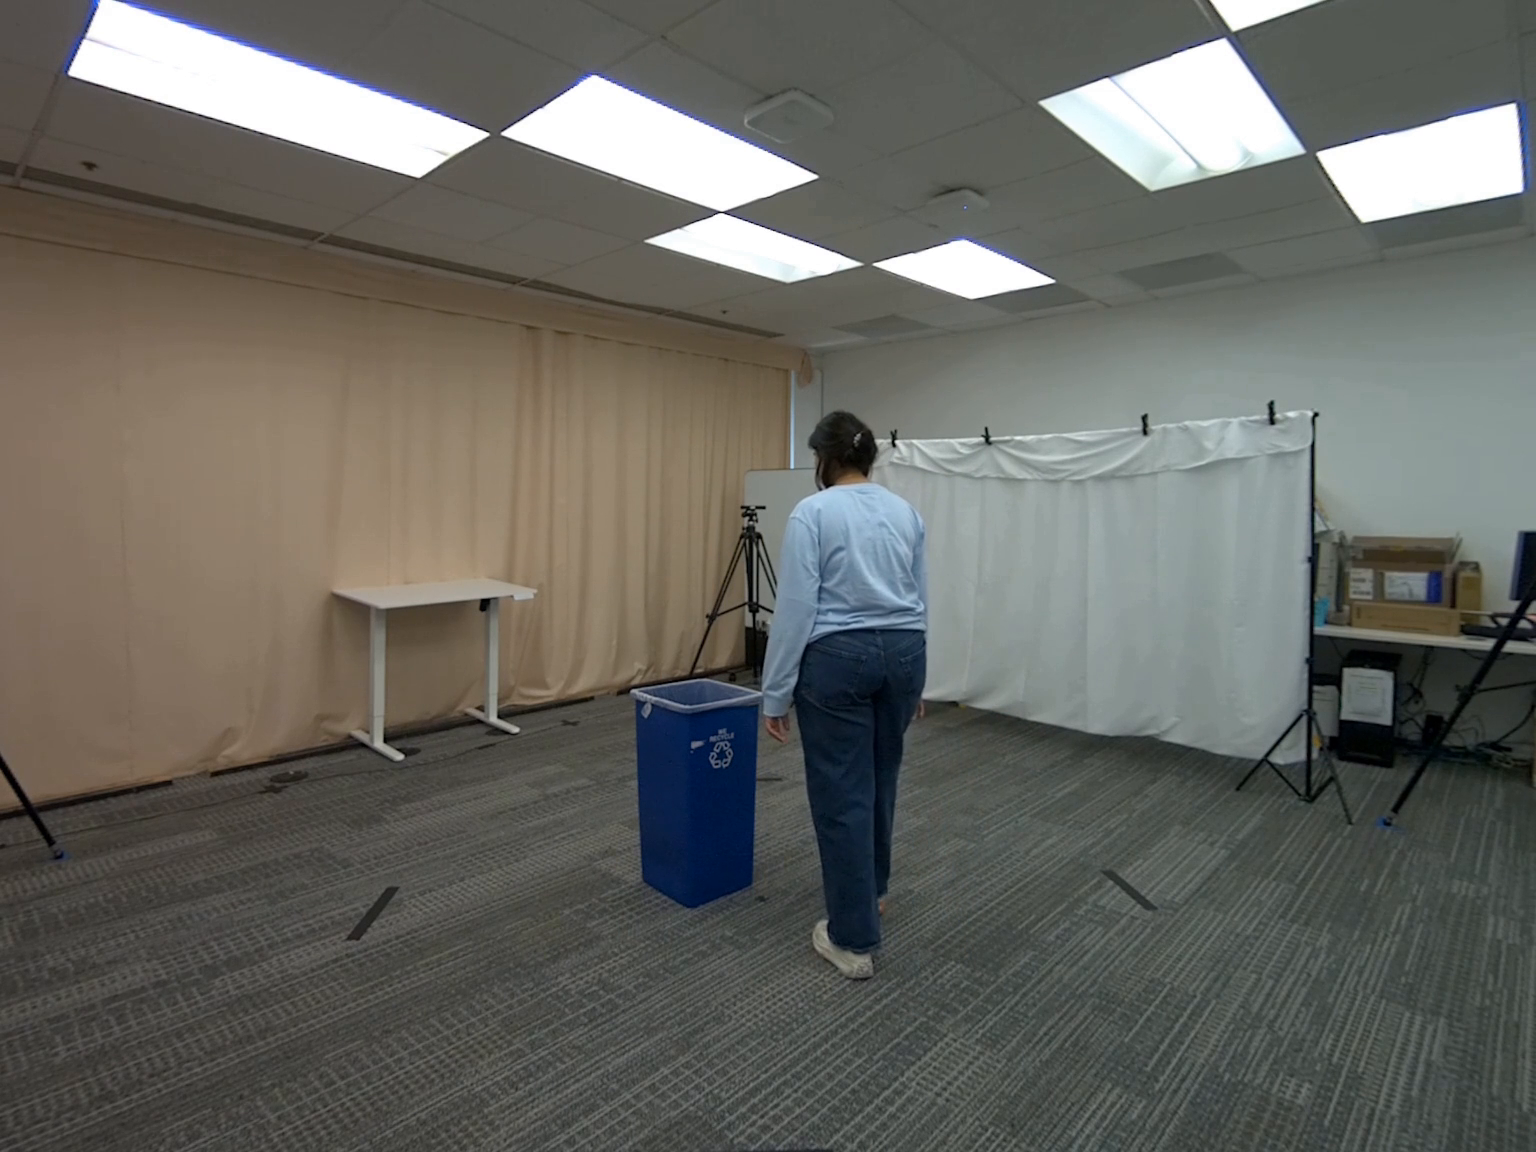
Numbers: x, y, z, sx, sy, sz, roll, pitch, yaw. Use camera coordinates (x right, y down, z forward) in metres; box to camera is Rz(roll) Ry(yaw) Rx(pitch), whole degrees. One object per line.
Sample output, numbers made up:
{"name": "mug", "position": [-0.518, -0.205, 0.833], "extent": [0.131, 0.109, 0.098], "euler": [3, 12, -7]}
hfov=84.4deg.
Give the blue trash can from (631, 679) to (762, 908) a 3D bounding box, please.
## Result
{"name": "blue trash can", "position": [-0.257, 0.778, 3.104], "extent": [0.363, 0.712, 0.390], "euler": [-3, 5, -41]}
